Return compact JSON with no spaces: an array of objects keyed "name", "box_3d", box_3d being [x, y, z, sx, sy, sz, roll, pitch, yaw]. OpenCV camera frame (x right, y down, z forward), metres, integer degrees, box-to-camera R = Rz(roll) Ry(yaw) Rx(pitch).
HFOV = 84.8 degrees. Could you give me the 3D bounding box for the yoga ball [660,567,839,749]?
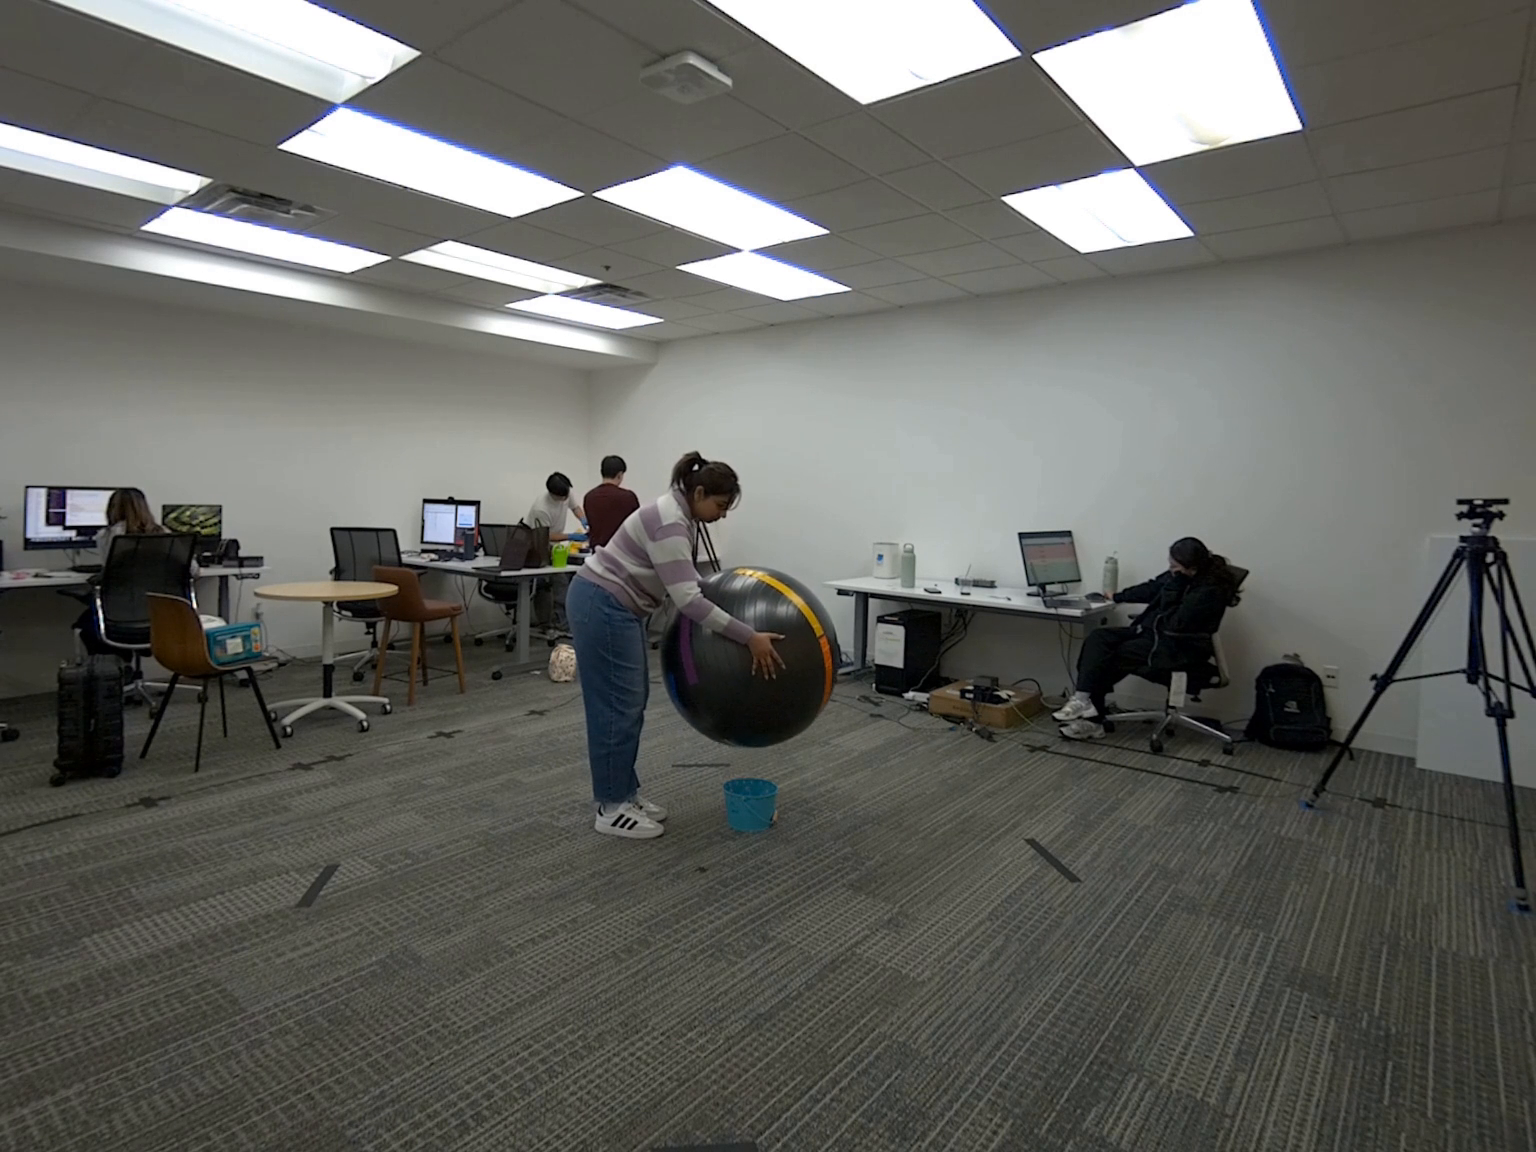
[{"name":"yoga ball","box_3d":[-0.086,0.334,3.612,0.757,0.756,0.761,1,4,-2]}]
